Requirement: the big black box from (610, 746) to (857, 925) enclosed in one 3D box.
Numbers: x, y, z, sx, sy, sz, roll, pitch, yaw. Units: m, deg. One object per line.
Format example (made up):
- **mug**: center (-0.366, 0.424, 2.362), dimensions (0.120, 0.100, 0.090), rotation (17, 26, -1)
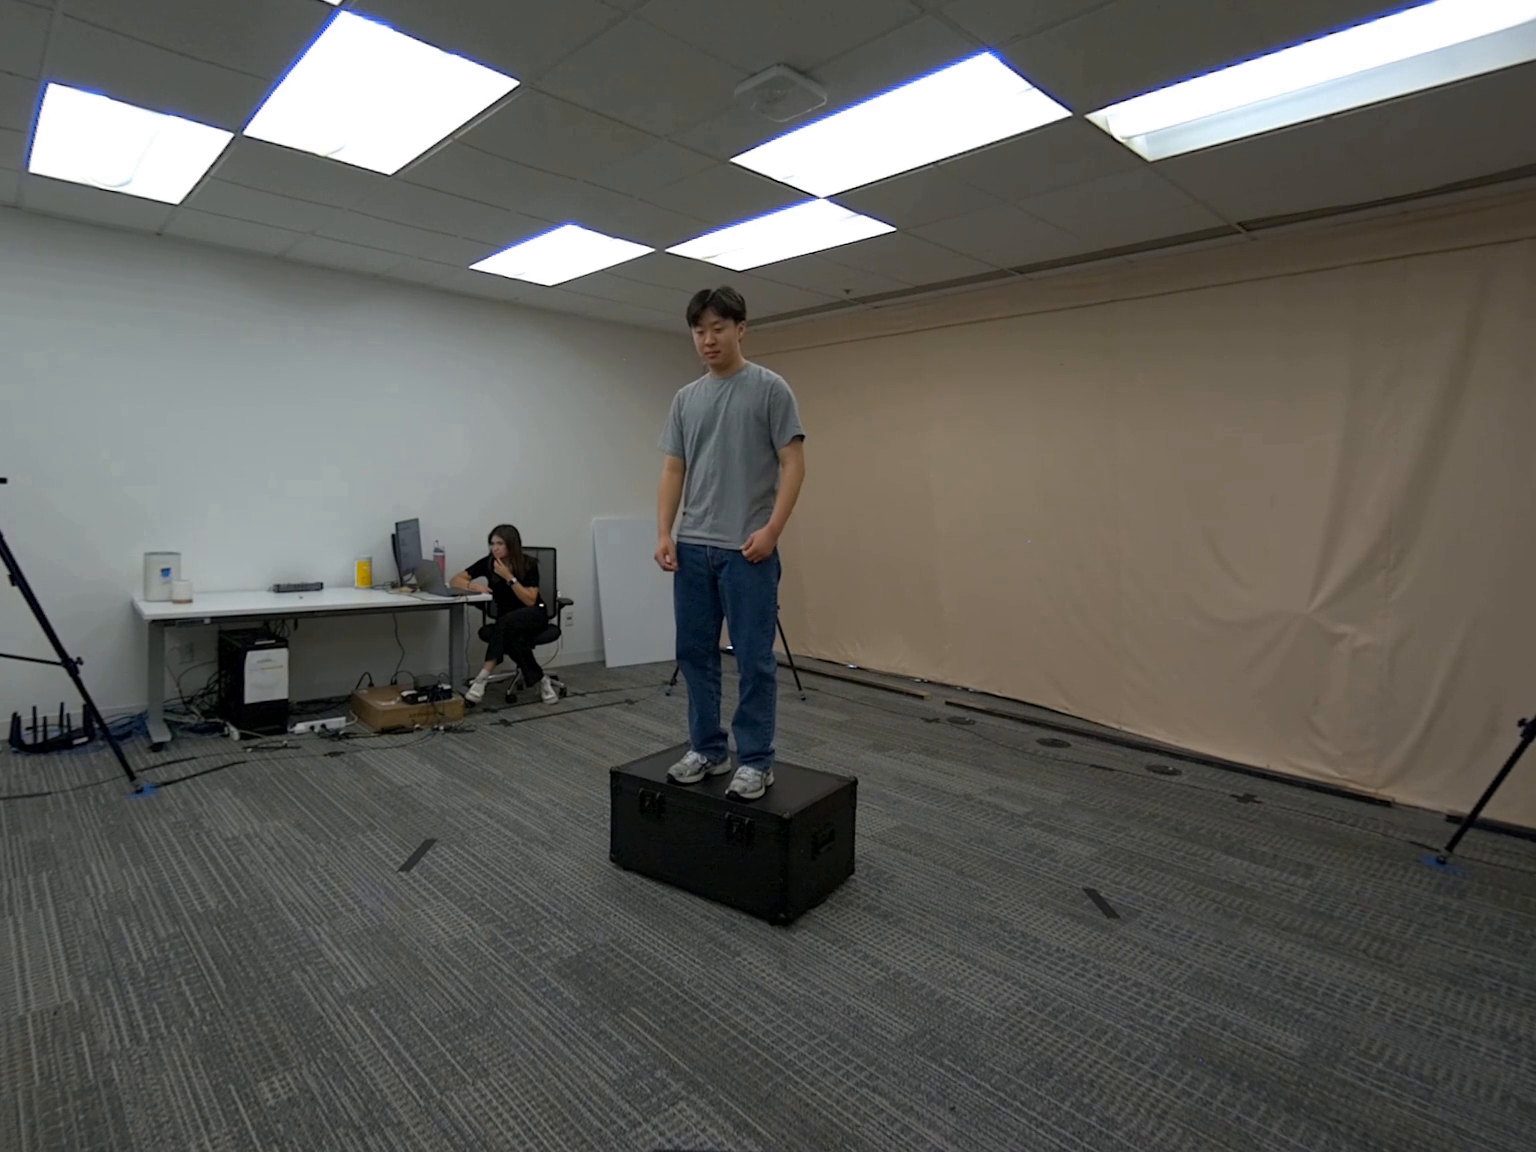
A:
- **big black box**: center (-0.166, 0.912, 3.133), dimensions (0.882, 0.395, 0.510), rotation (5, 6, 34)
